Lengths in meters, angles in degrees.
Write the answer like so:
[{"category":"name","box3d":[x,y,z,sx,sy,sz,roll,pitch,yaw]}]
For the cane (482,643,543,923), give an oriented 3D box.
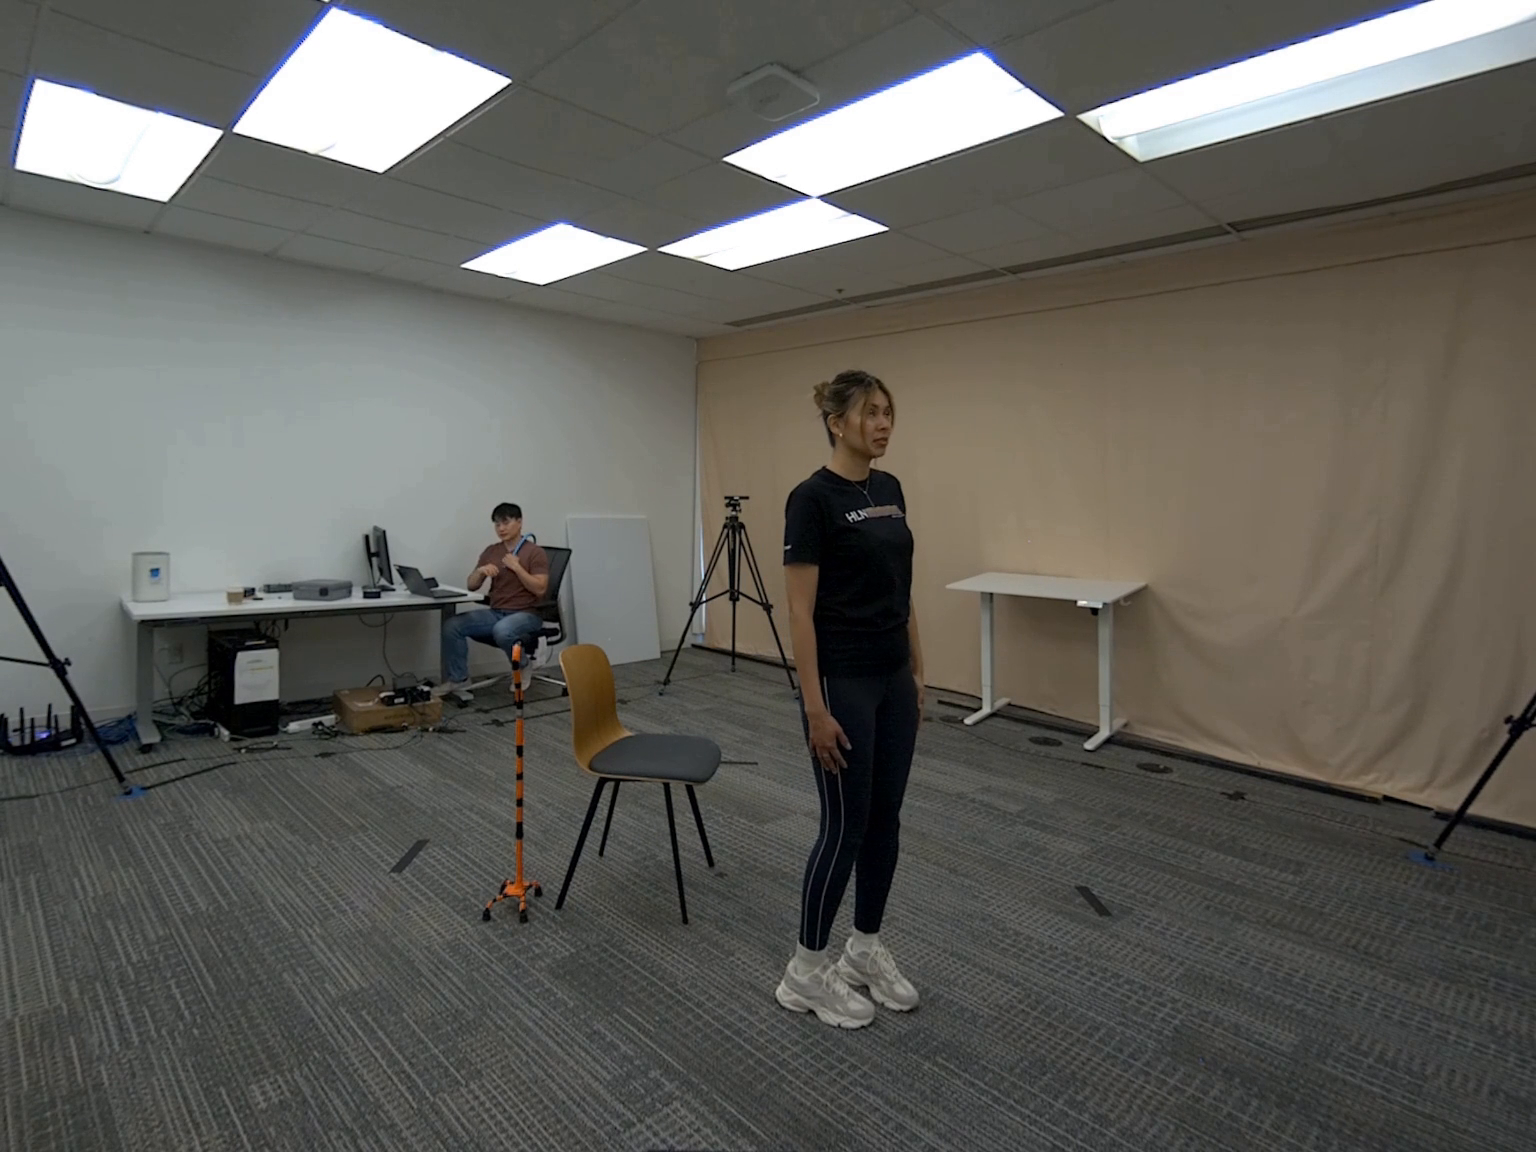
[{"category":"cane","box3d":[-0.850,0.663,2.802,0.152,0.905,0.206,1,4,1]}]
